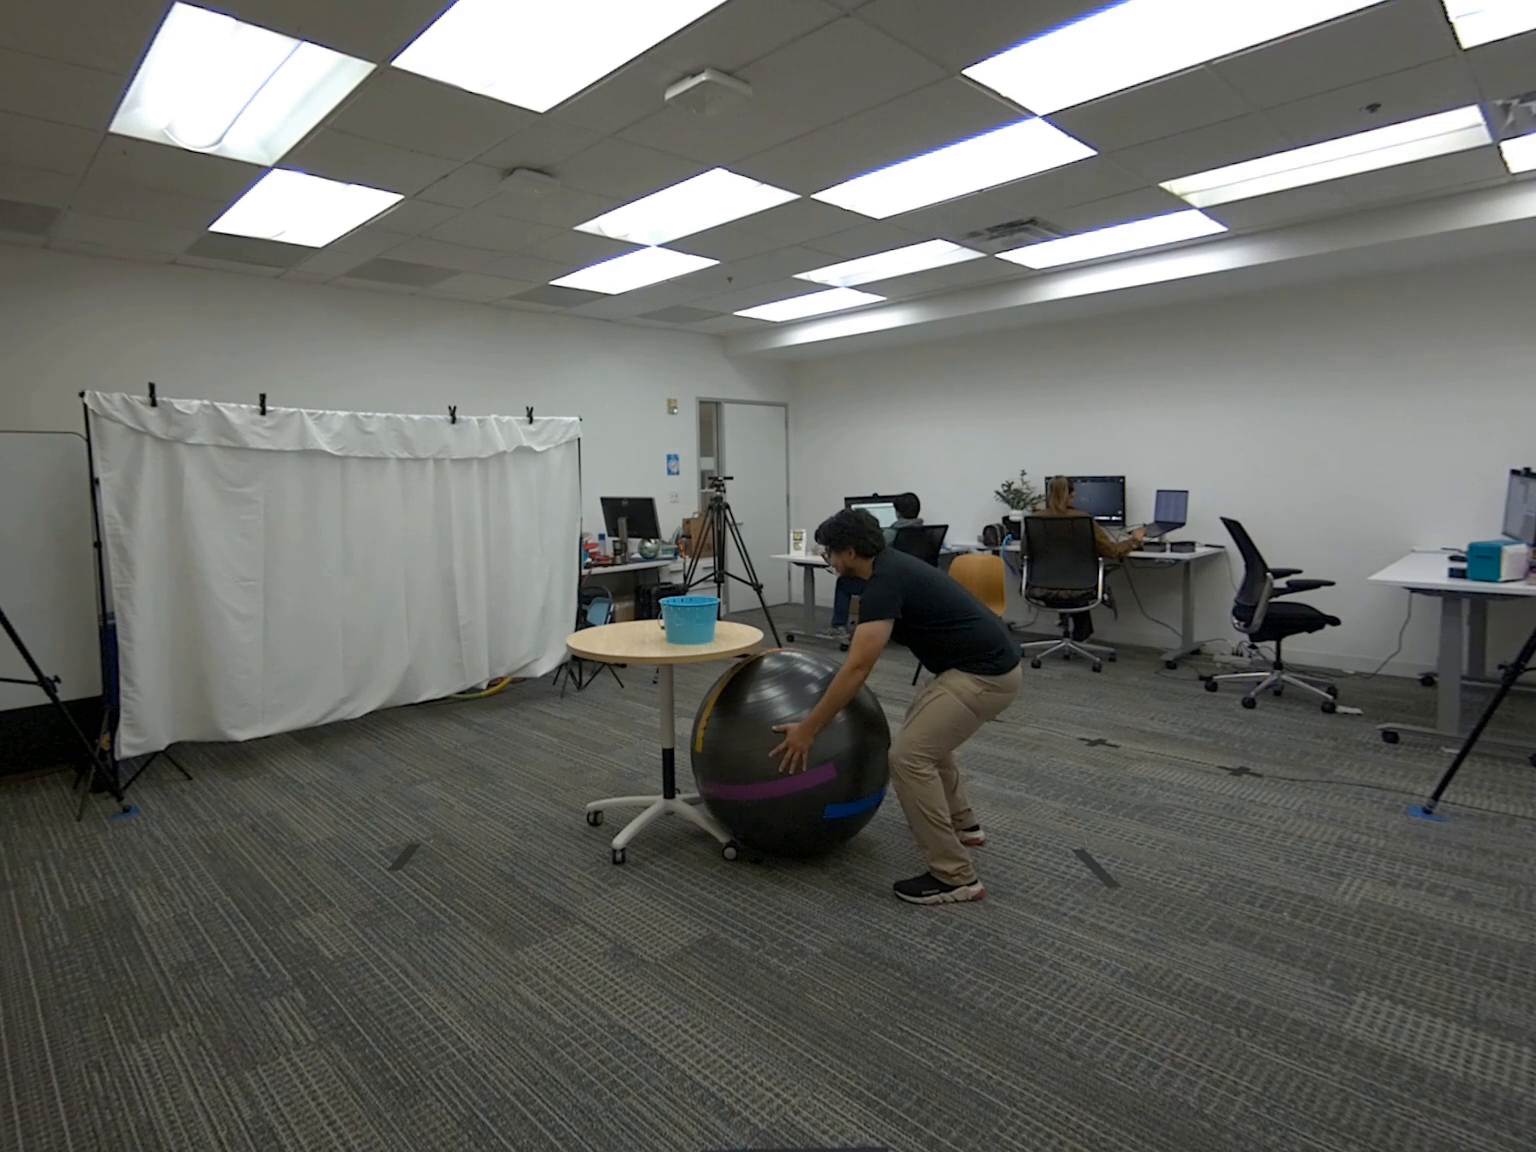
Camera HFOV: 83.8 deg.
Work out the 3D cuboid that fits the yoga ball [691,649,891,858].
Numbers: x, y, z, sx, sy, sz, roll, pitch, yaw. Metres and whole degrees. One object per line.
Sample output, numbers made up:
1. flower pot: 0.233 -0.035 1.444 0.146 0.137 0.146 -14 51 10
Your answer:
1. yoga ball: 0.090 0.666 3.226 0.757 0.755 0.762 -1 5 -2
